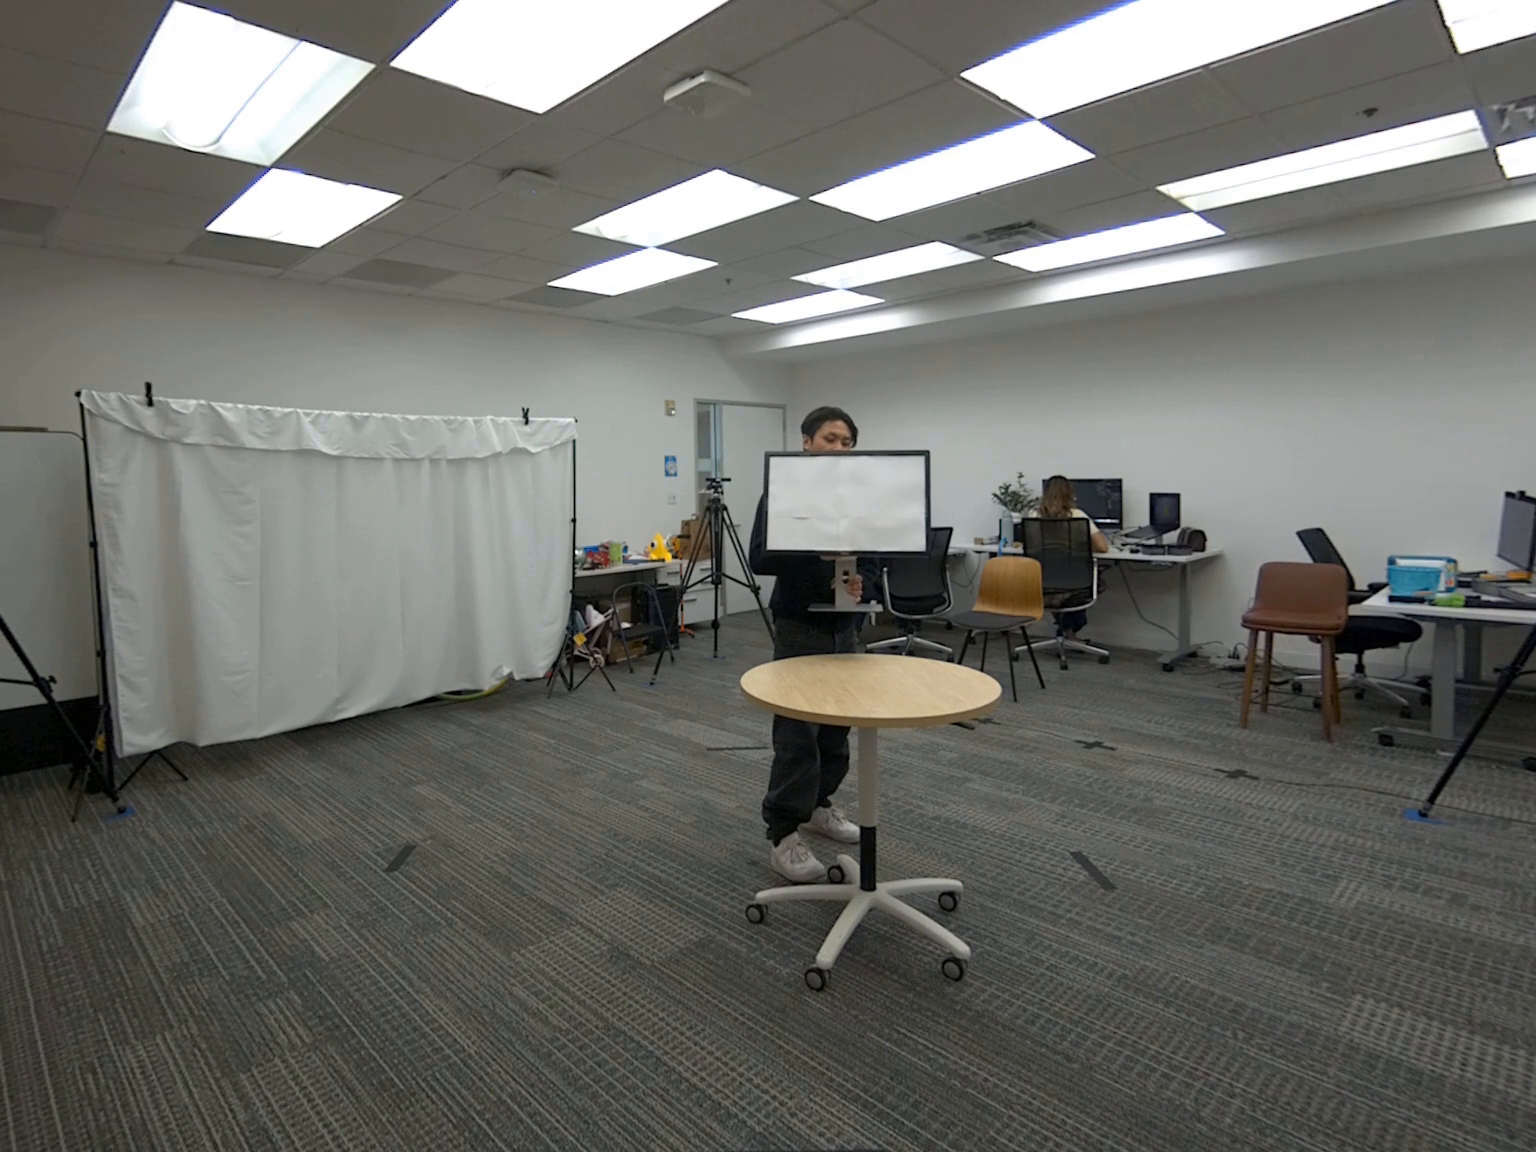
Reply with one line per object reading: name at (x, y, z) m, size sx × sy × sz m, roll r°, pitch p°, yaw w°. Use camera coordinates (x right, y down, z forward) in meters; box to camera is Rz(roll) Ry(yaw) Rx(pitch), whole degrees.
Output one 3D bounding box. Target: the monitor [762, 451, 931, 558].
monitor at (0.266, -0.149, 2.910) m, size 0.533 × 0.513 × 0.174 m, roll 2°, pitch 6°, yaw 6°
